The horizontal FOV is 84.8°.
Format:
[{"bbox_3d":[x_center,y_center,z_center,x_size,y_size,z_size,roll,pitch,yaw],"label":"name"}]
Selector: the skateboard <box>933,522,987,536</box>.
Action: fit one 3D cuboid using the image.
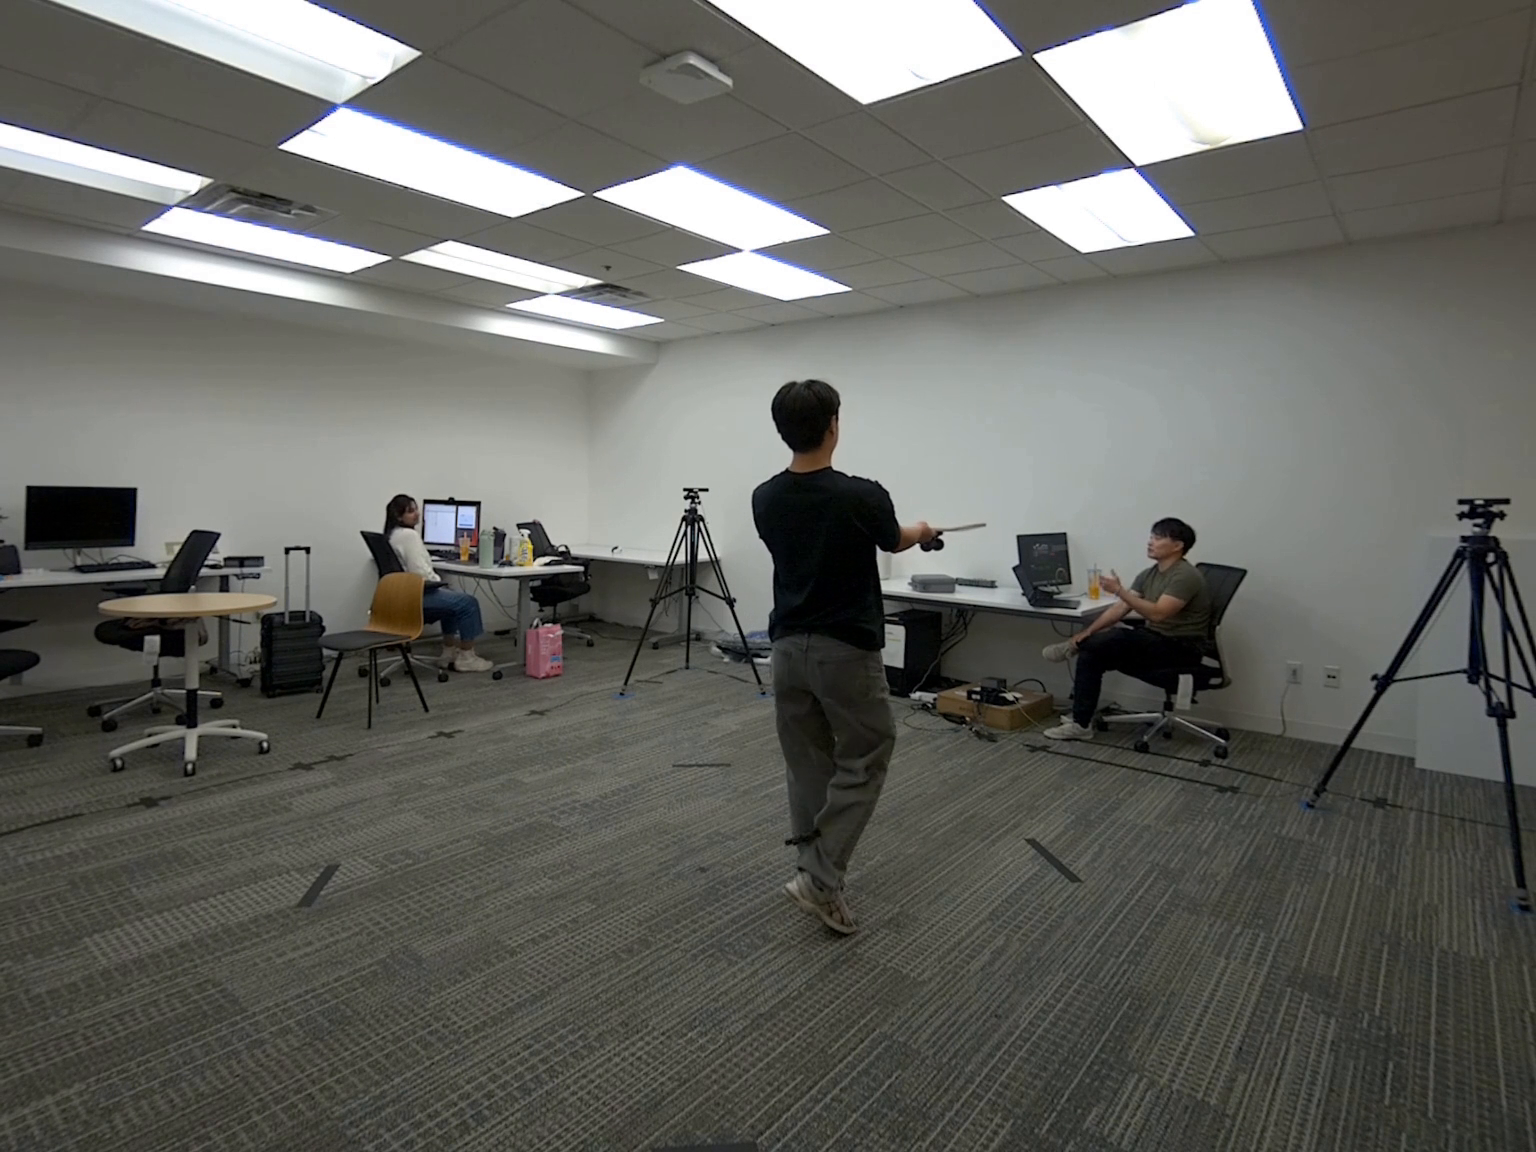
[{"bbox_3d":[0.427,-0.153,3.299,0.807,0.110,0.188,3,4,27],"label":"skateboard"}]
